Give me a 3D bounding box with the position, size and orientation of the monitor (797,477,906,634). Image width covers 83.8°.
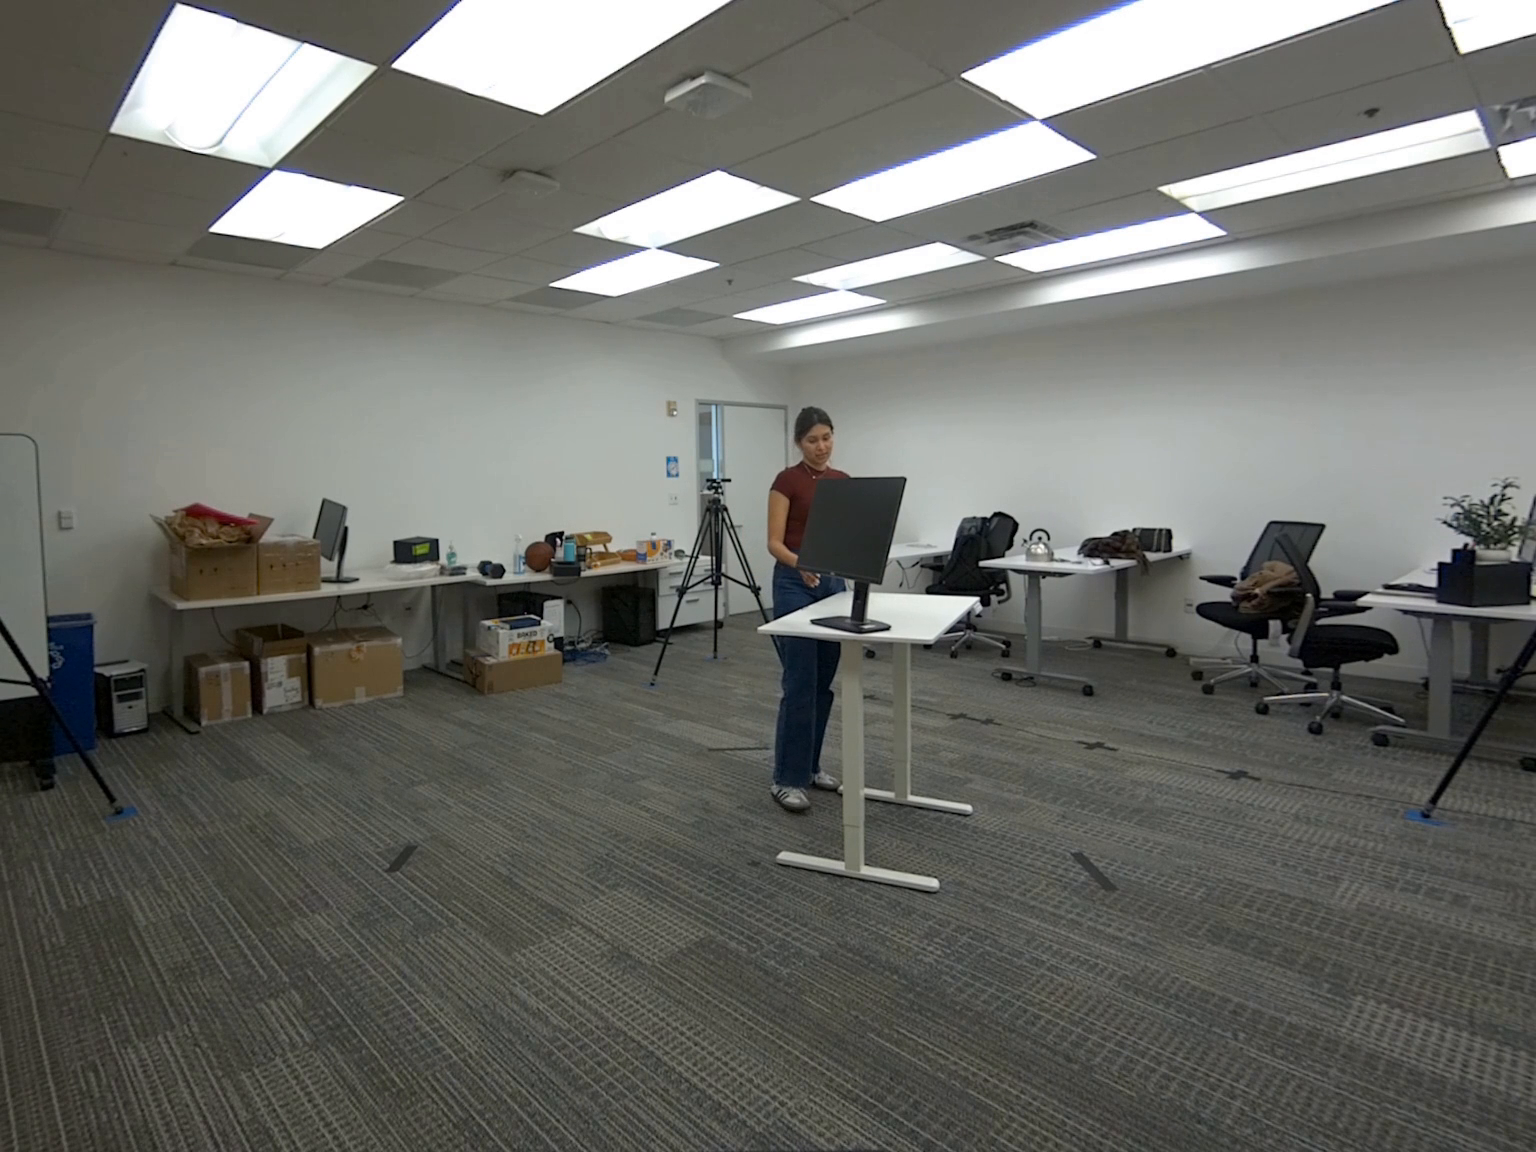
[{"bbox_3d":[0.292,-0.077,2.950,0.183,0.521,0.553,0,4,-28],"label":"monitor"}]
